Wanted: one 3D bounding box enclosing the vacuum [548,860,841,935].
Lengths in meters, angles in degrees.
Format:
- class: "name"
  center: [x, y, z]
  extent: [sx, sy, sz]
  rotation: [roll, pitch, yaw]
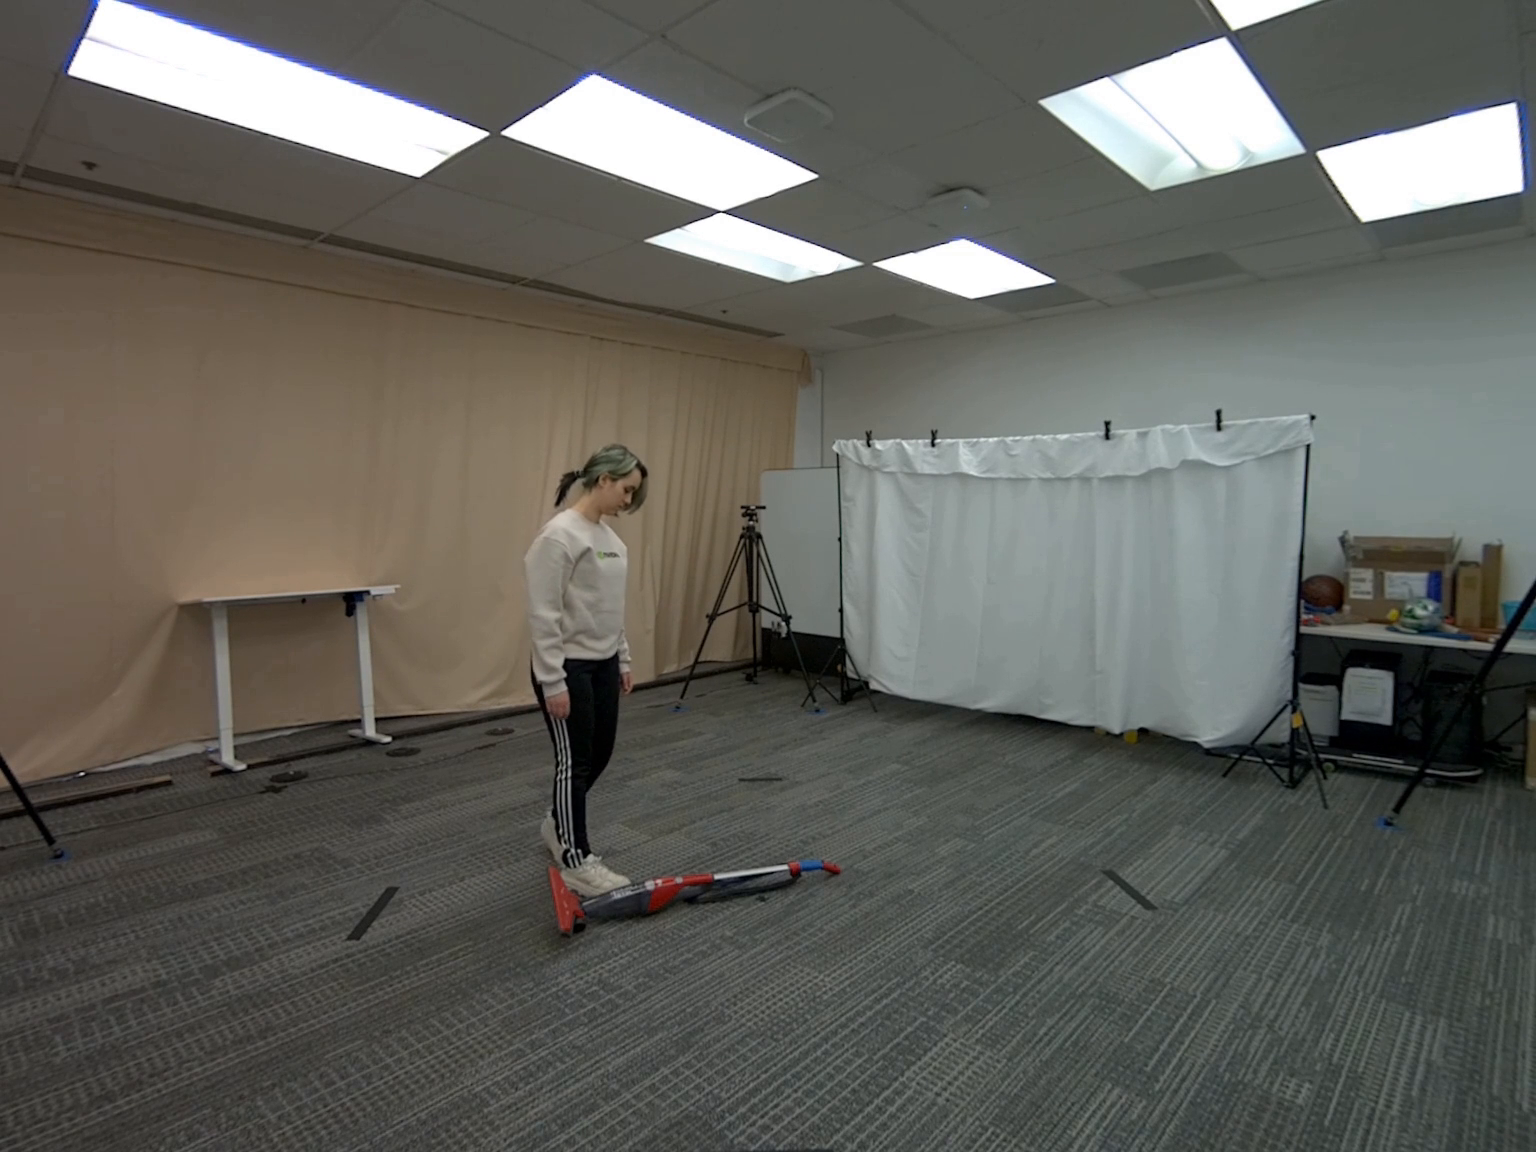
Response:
- class: "vacuum"
  center: [-0.205, 1.093, 2.968]
  extent: [1.024, 0.143, 0.260]
  rotation: [1, 36, -24]
